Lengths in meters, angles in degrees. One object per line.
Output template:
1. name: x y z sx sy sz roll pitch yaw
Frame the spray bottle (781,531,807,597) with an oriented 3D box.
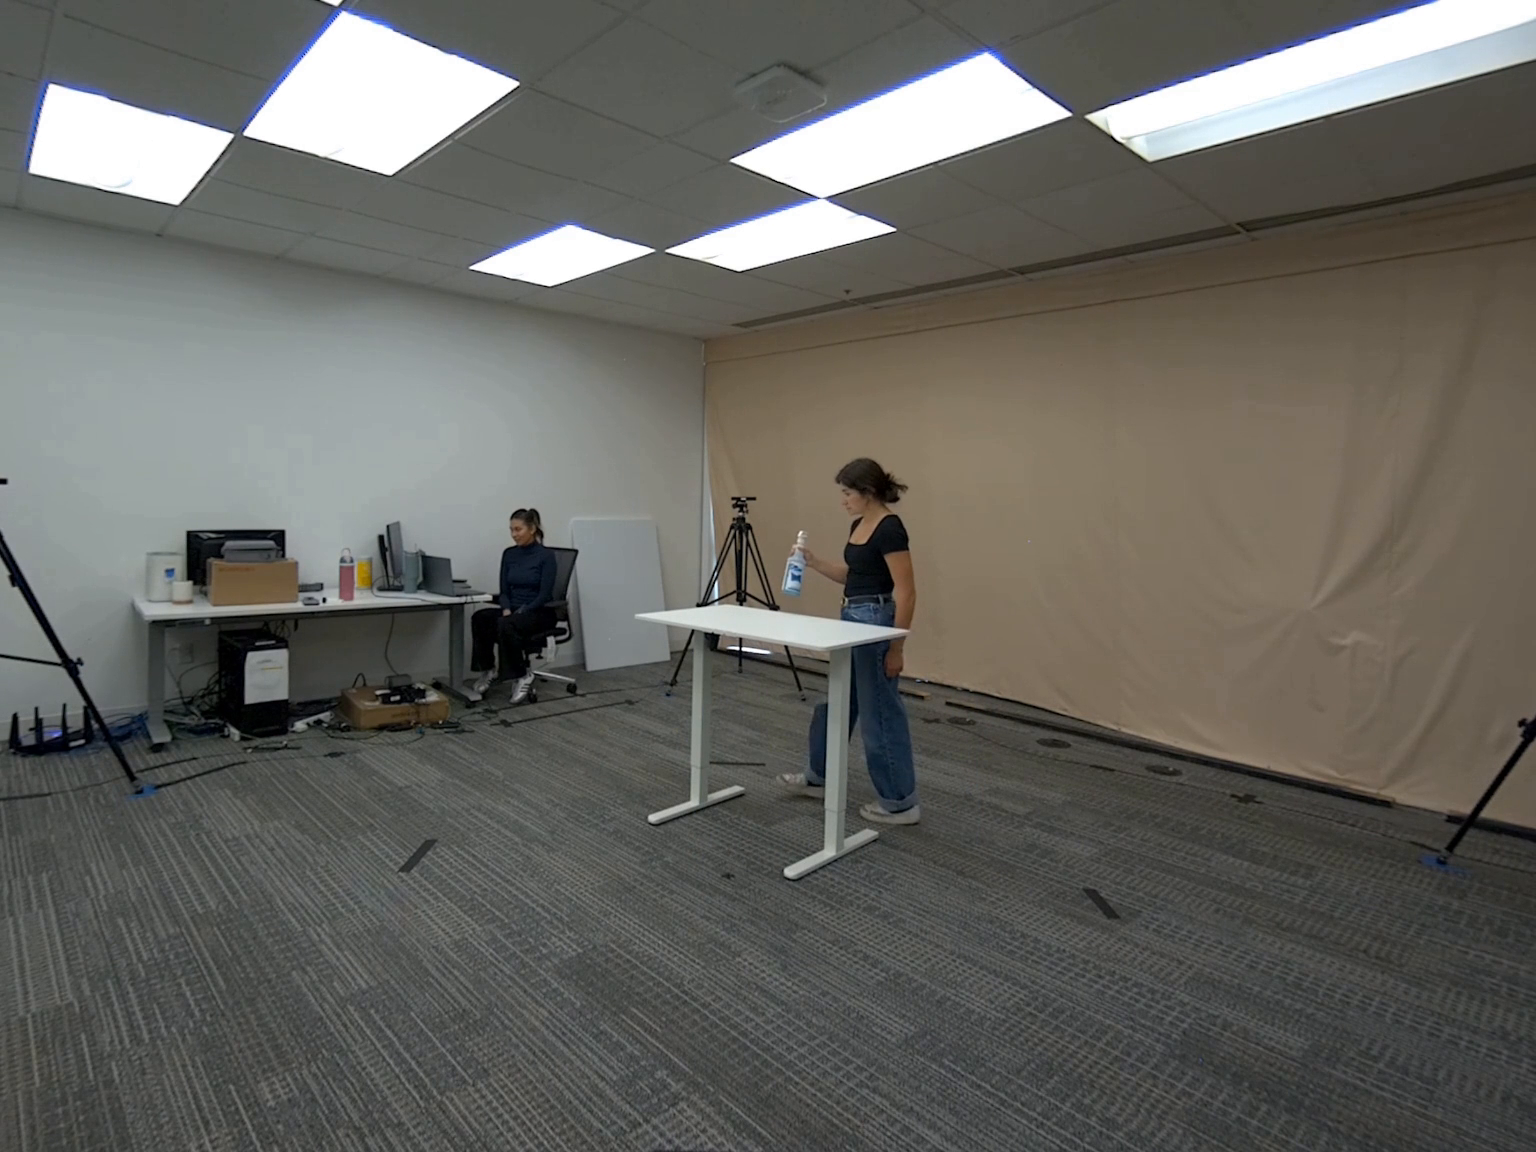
1. spray bottle: 0.125 -0.059 3.843 0.087 0.298 0.089 17 -8 -42
